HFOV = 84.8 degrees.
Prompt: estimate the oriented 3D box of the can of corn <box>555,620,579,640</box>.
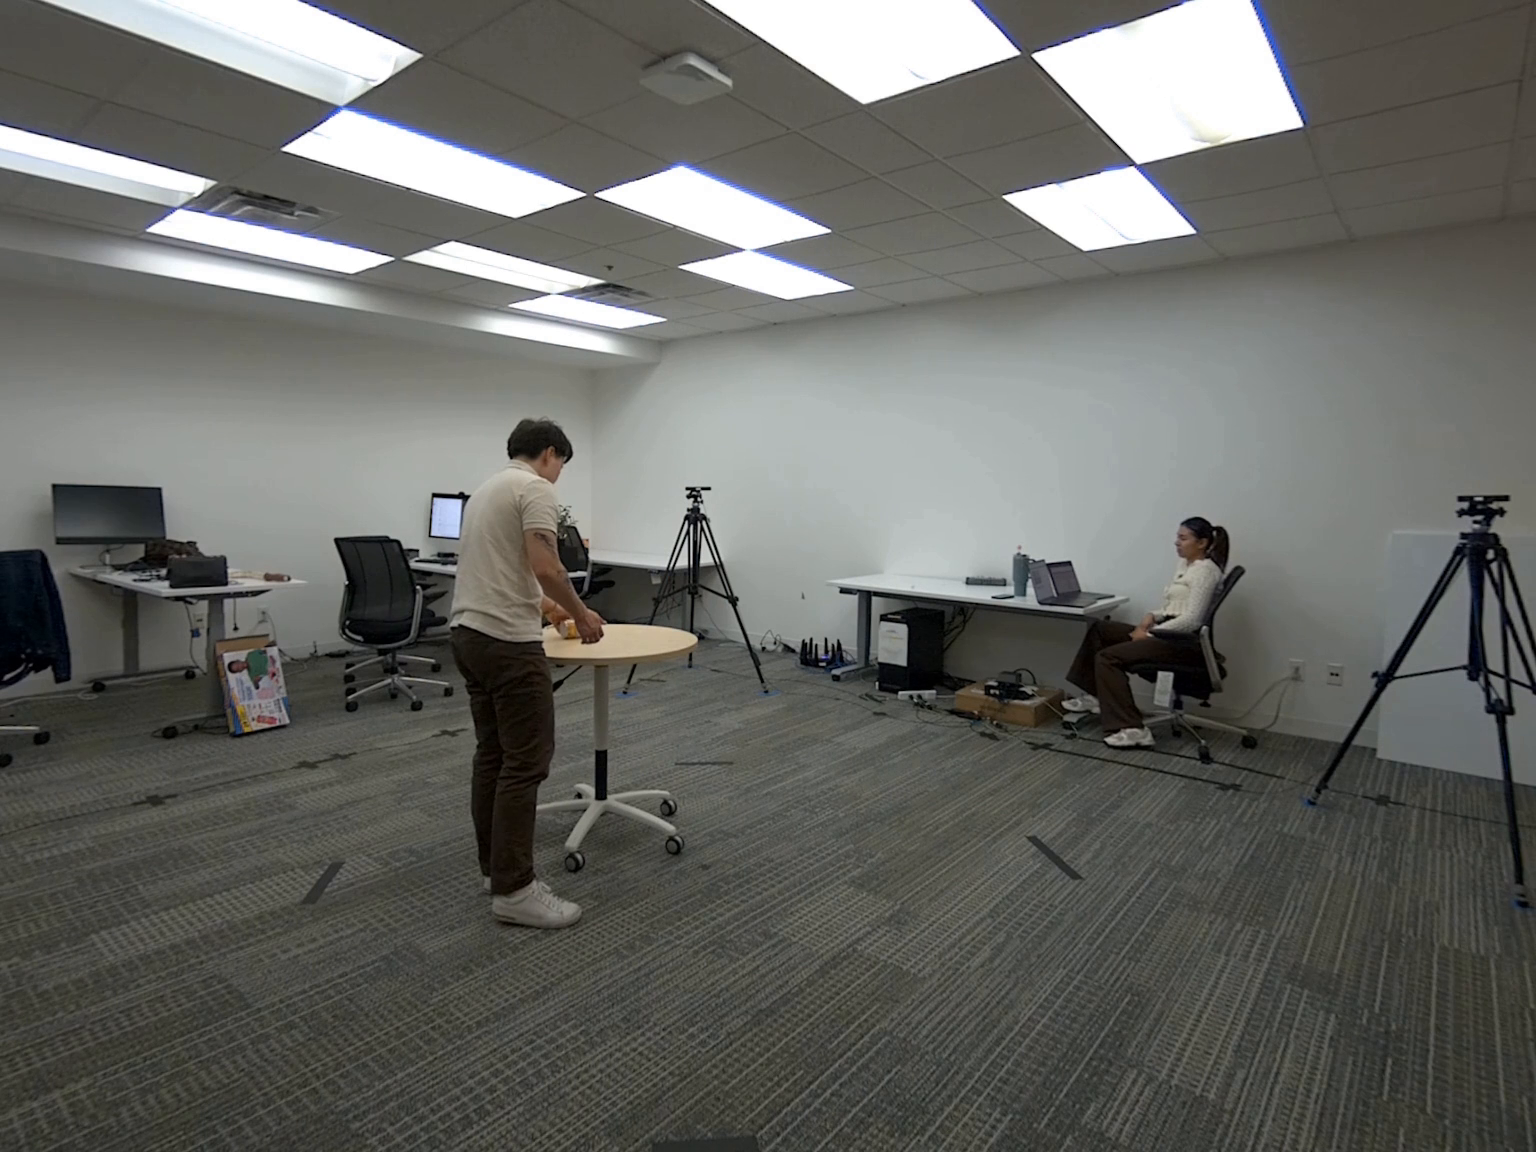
[{"bbox_3d":[-0.783,0.207,3.417,0.108,0.074,0.076,-3,6,-34],"label":"can of corn"}]
